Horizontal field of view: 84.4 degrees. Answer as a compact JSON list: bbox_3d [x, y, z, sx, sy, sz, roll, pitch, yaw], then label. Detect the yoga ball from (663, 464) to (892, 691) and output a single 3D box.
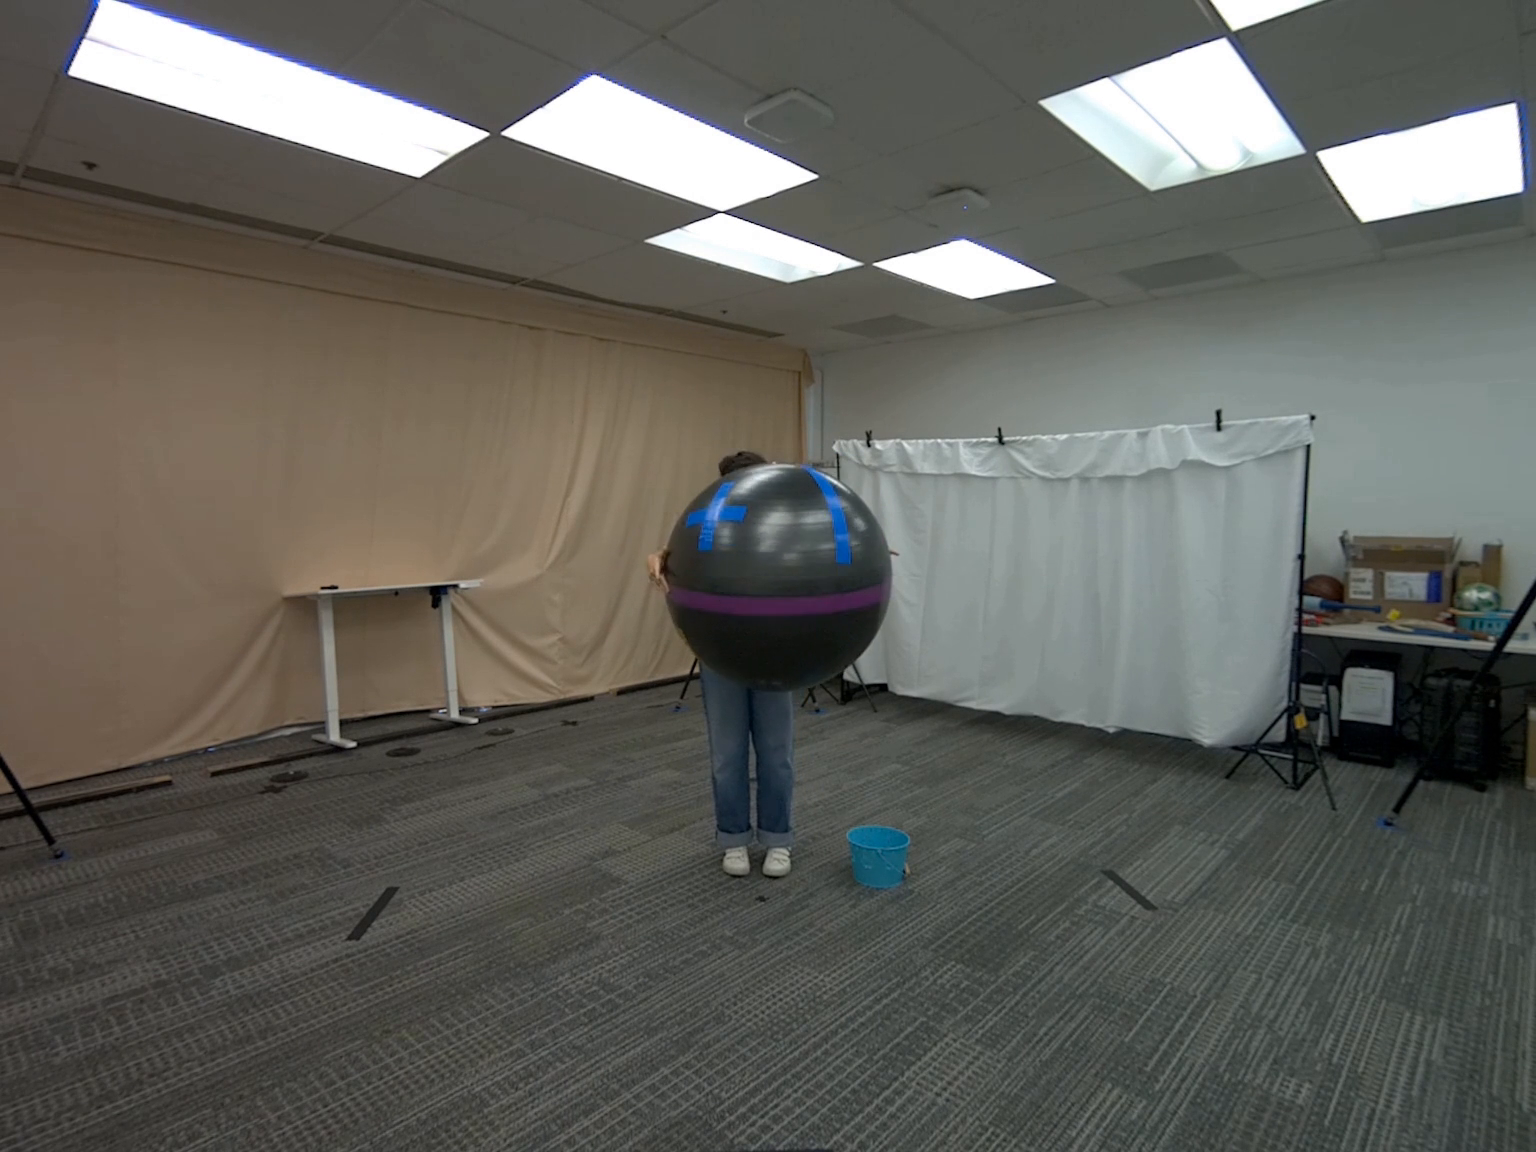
[{"bbox_3d":[0.032,0.007,2.809,0.757,0.756,0.760,0,4,-2],"label":"yoga ball"}]
